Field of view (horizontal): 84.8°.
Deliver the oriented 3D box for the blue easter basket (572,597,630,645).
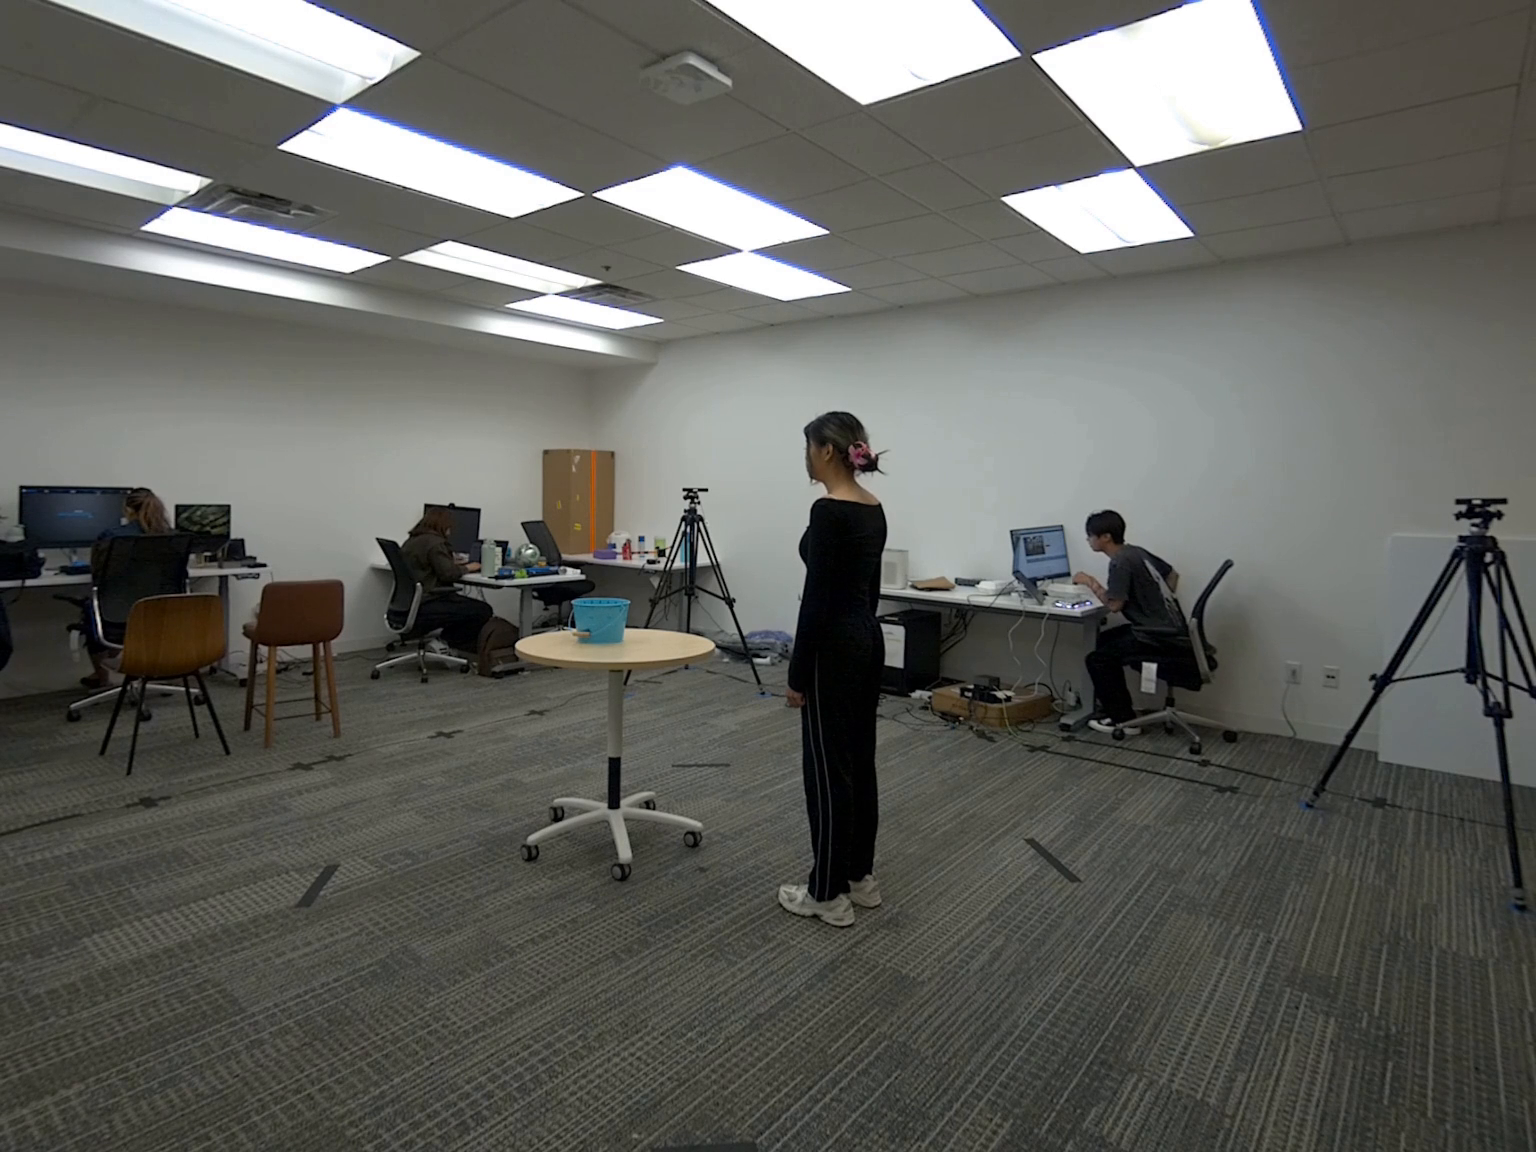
[{"bbox_3d":[-0.692,0.181,3.379,0.243,0.155,0.245,1,4,-2],"label":"blue easter basket"}]
